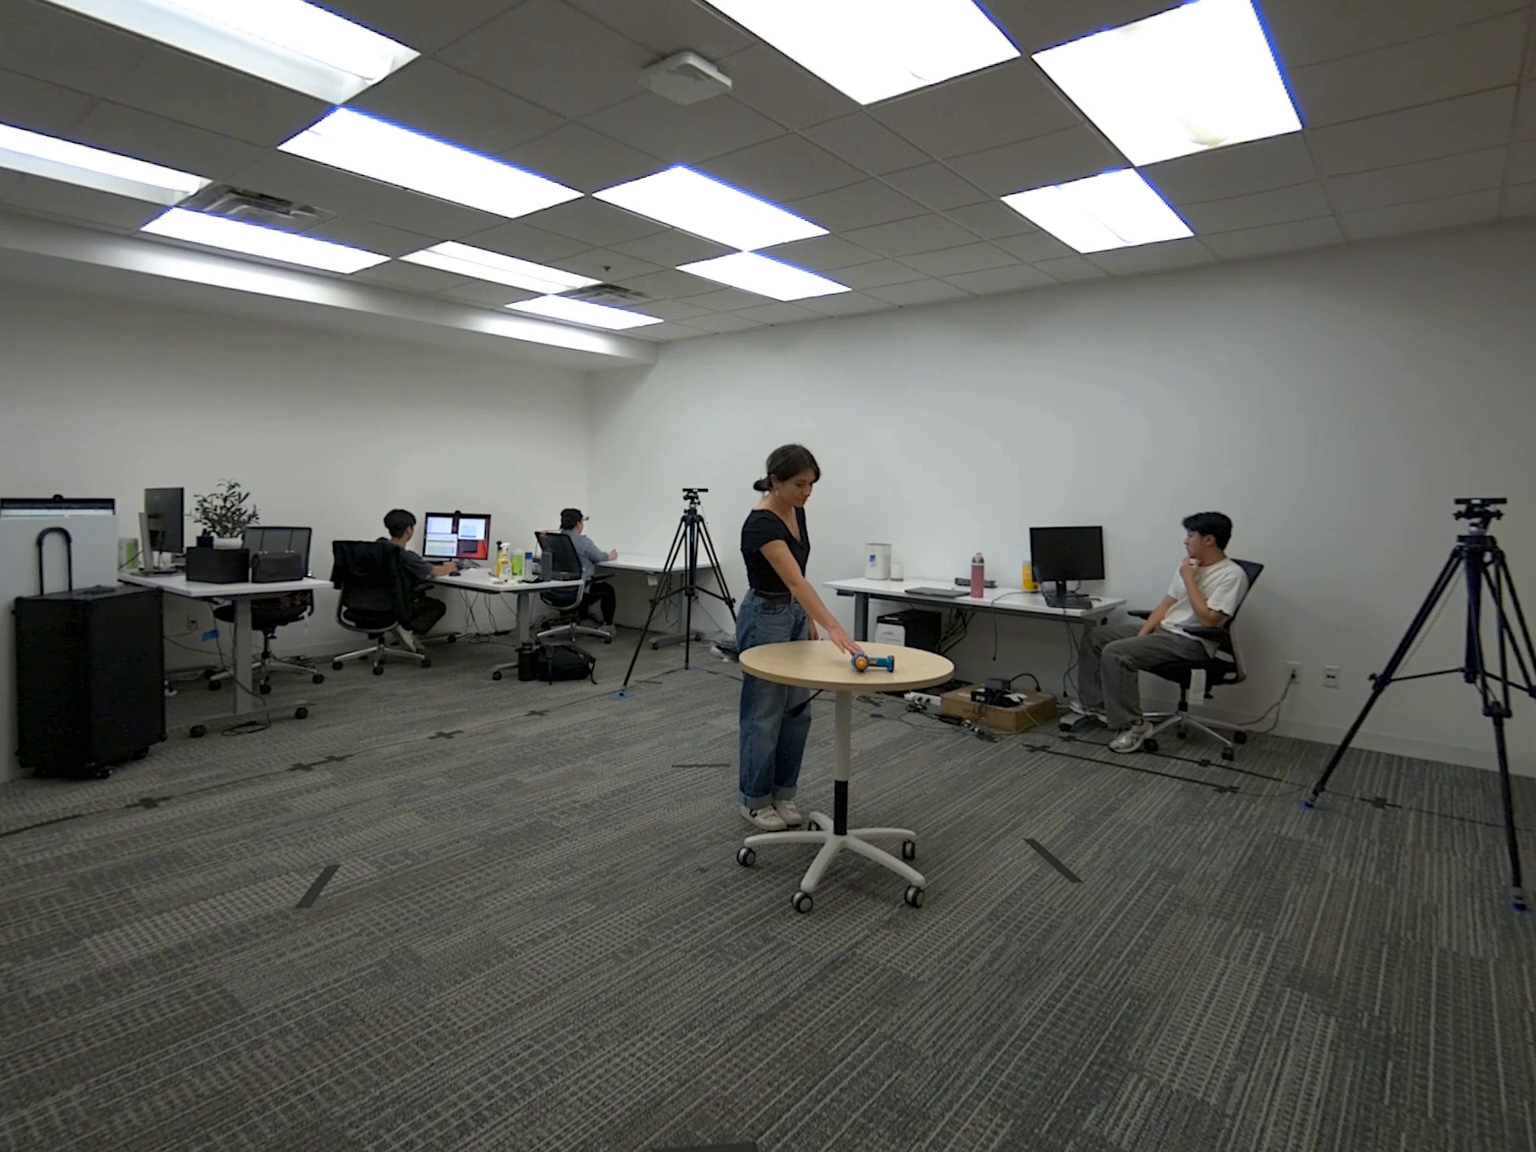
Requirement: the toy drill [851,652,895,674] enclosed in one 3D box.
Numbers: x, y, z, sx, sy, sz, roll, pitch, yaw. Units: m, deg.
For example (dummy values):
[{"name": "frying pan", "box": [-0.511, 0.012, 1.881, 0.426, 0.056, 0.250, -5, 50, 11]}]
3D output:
[{"name": "toy drill", "box": [0.361, 0.285, 2.874, 0.147, 0.061, 0.168, 3, -3, 6]}]
